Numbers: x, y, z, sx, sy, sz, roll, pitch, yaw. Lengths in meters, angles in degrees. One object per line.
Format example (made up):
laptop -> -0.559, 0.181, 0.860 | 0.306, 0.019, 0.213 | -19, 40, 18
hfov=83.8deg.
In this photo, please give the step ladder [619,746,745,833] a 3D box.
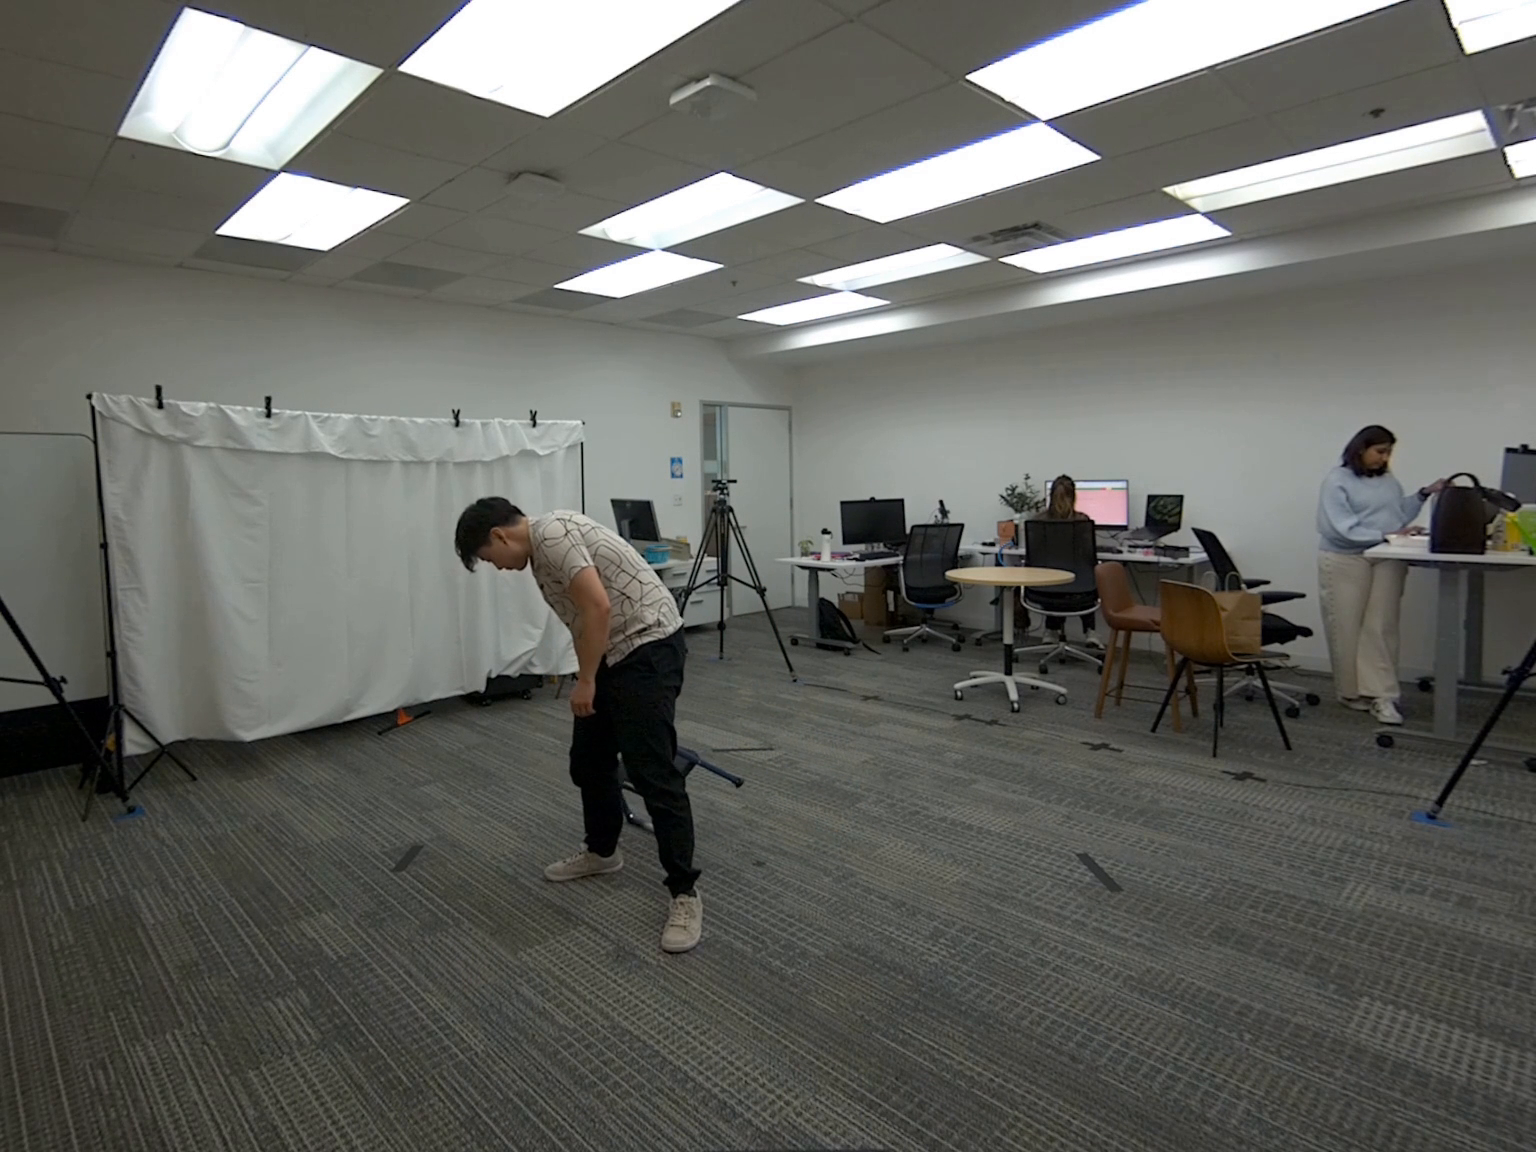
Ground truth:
step ladder -> -0.461, 0.694, 3.334 | 0.444, 0.587, 0.349 | 3, 42, 45
